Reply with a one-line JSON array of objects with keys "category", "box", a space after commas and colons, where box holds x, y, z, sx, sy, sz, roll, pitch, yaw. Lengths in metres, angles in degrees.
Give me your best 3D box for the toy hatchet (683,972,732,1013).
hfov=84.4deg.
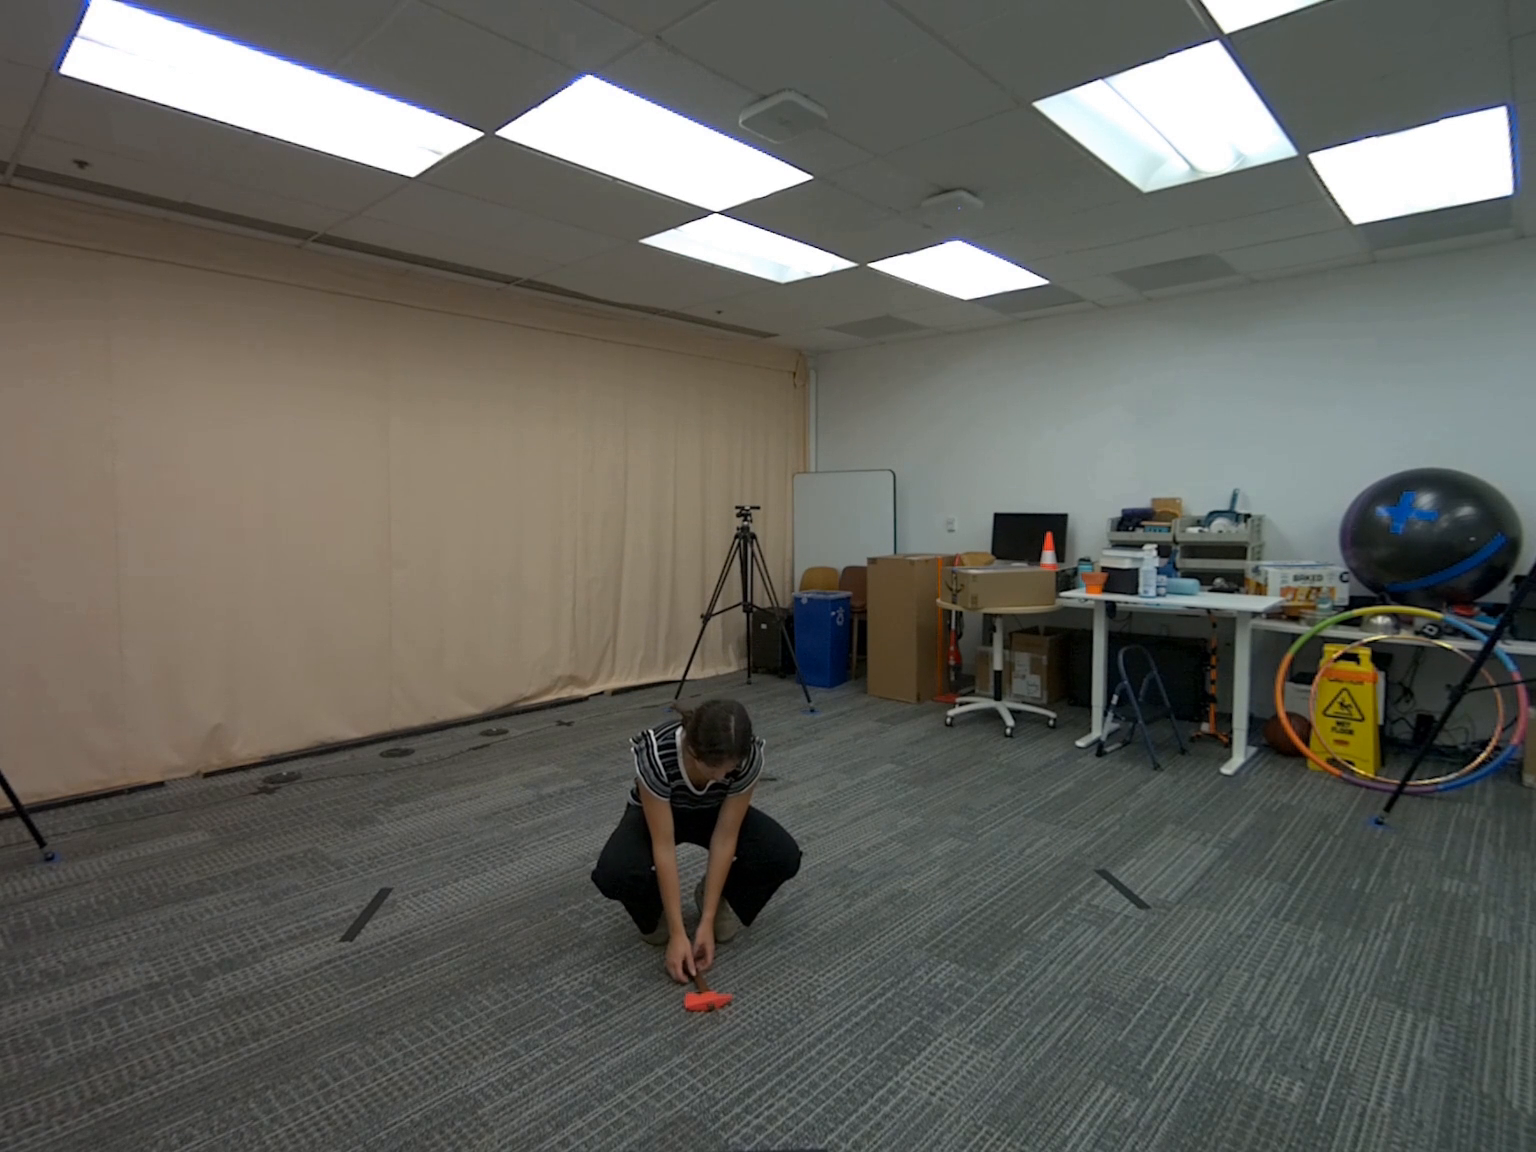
[{"category": "toy hatchet", "box": [-0.228, 1.179, 2.424, 0.127, 0.029, 0.278, -5, 4, -38]}]
